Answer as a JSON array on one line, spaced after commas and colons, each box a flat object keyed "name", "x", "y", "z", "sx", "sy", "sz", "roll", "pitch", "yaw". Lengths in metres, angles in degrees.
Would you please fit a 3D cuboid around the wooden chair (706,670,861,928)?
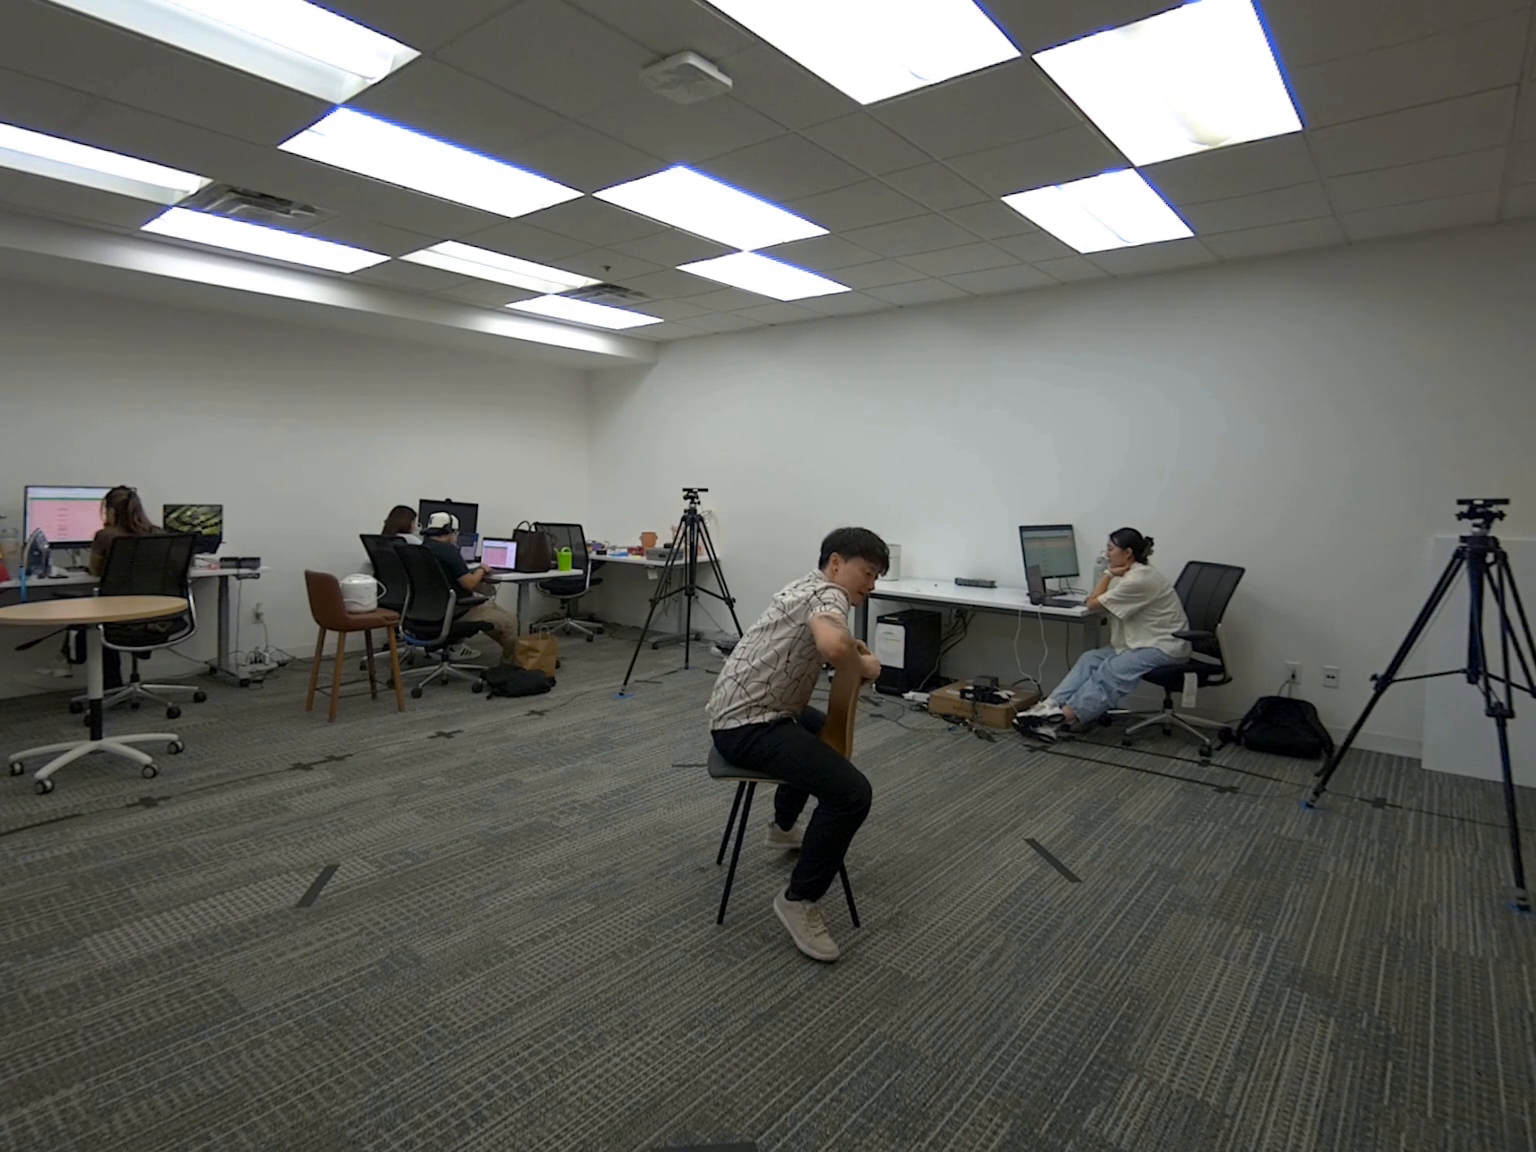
[{"name": "wooden chair", "x": 0.047, "y": 0.679, "z": 2.909, "sx": 0.522, "sy": 0.876, "sz": 0.481, "roll": 6, "pitch": 2, "yaw": -3}]
